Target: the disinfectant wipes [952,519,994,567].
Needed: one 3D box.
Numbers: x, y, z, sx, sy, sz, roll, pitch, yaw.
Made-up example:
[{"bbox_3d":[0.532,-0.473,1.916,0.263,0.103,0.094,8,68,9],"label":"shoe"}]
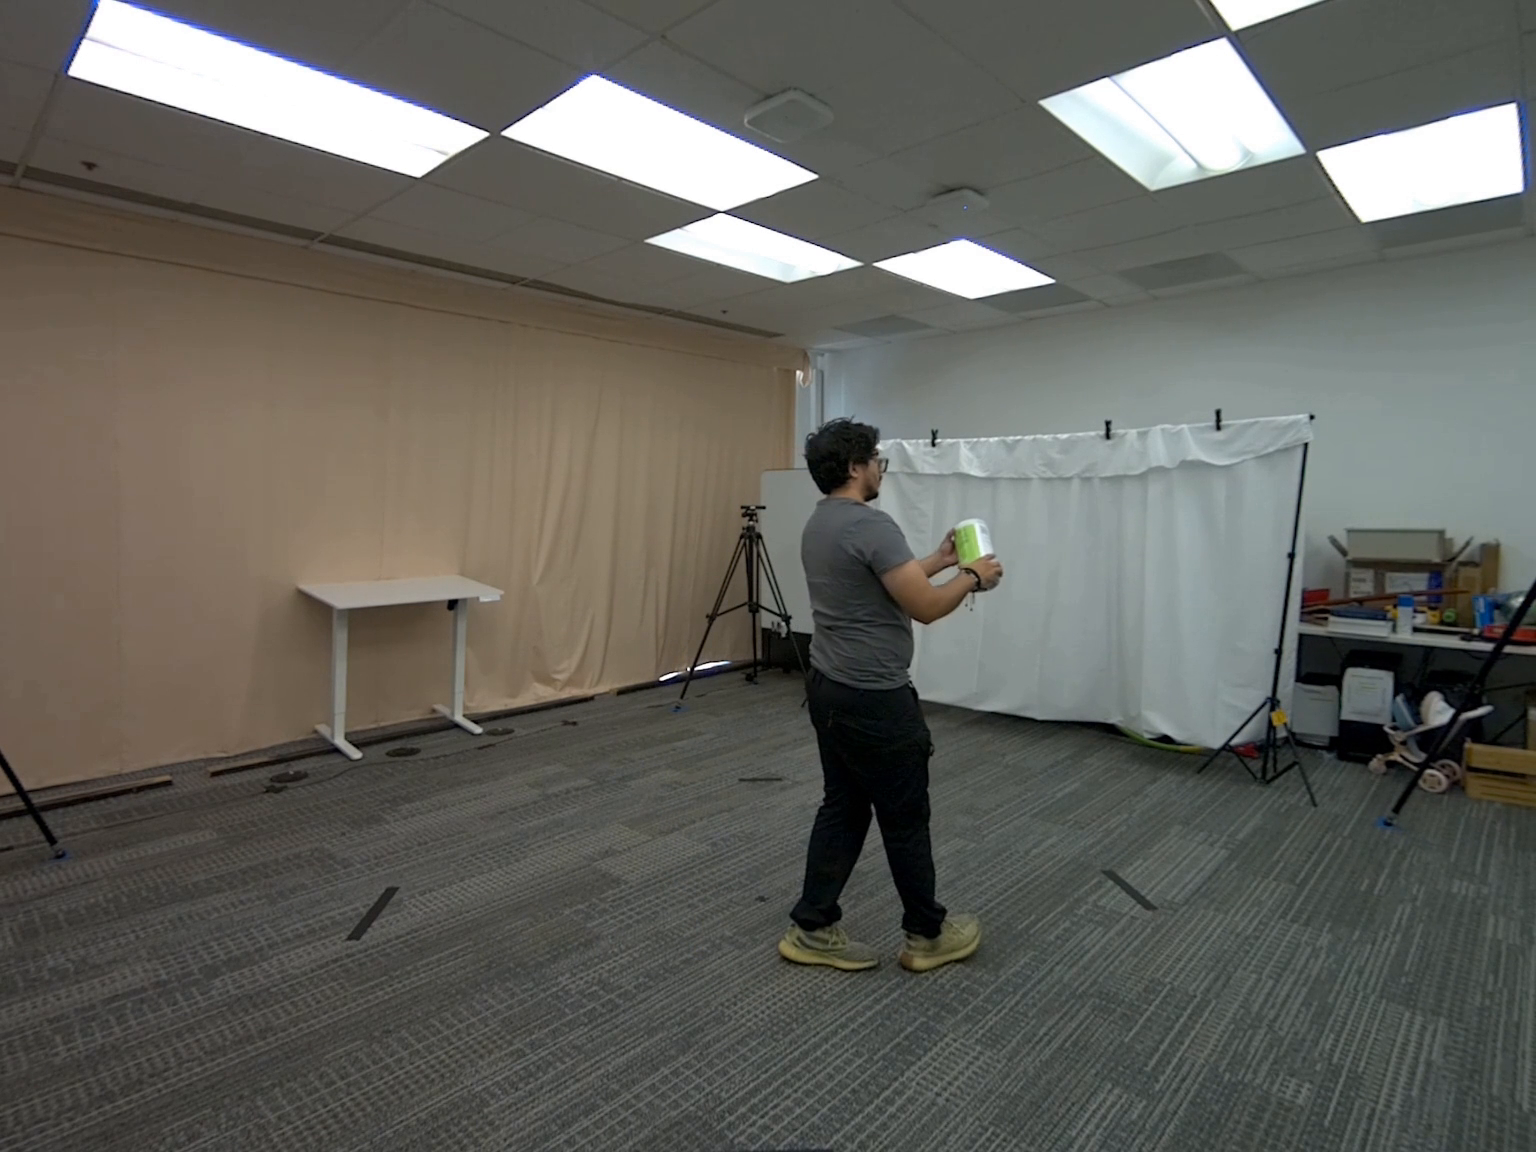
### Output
[{"bbox_3d":[0.665,-0.068,2.657,0.117,0.221,0.116,-2,-30,-3],"label":"disinfectant wipes"}]
